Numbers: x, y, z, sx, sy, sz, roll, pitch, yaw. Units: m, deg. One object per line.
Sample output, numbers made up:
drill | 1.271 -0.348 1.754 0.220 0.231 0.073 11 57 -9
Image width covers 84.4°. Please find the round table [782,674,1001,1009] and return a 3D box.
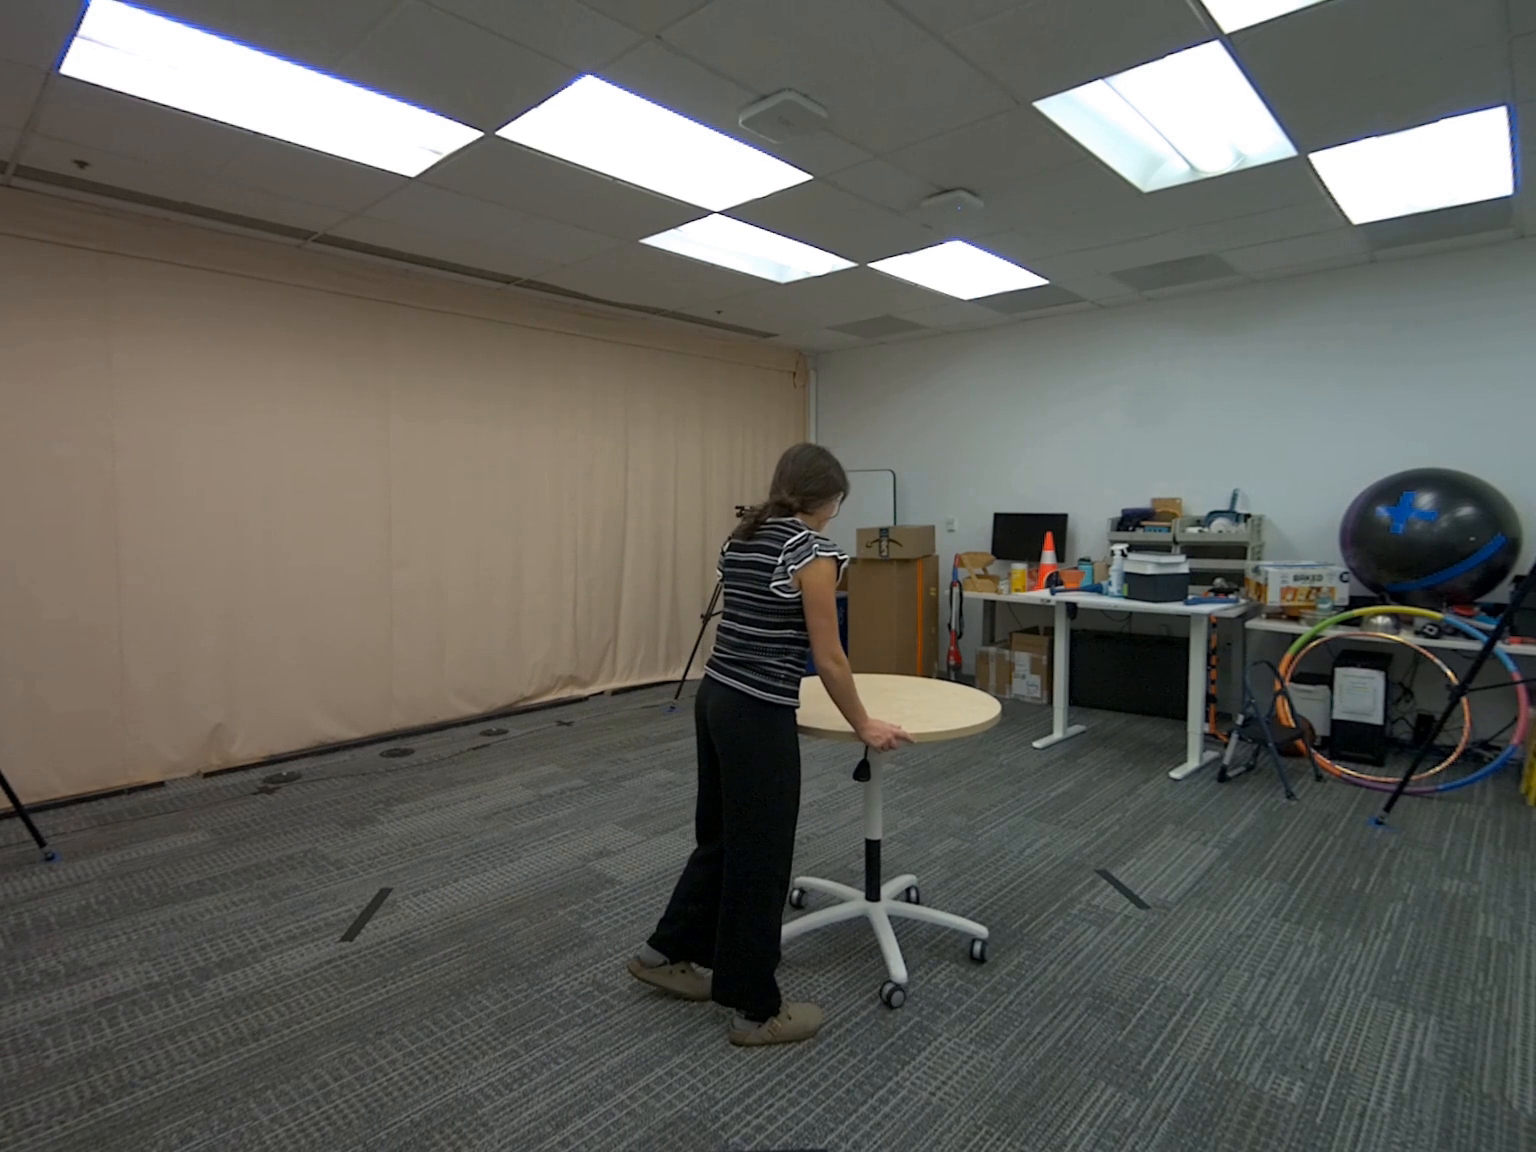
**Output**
round table | 0.336 0.781 2.670 0.763 0.792 0.767 0 4 -2
